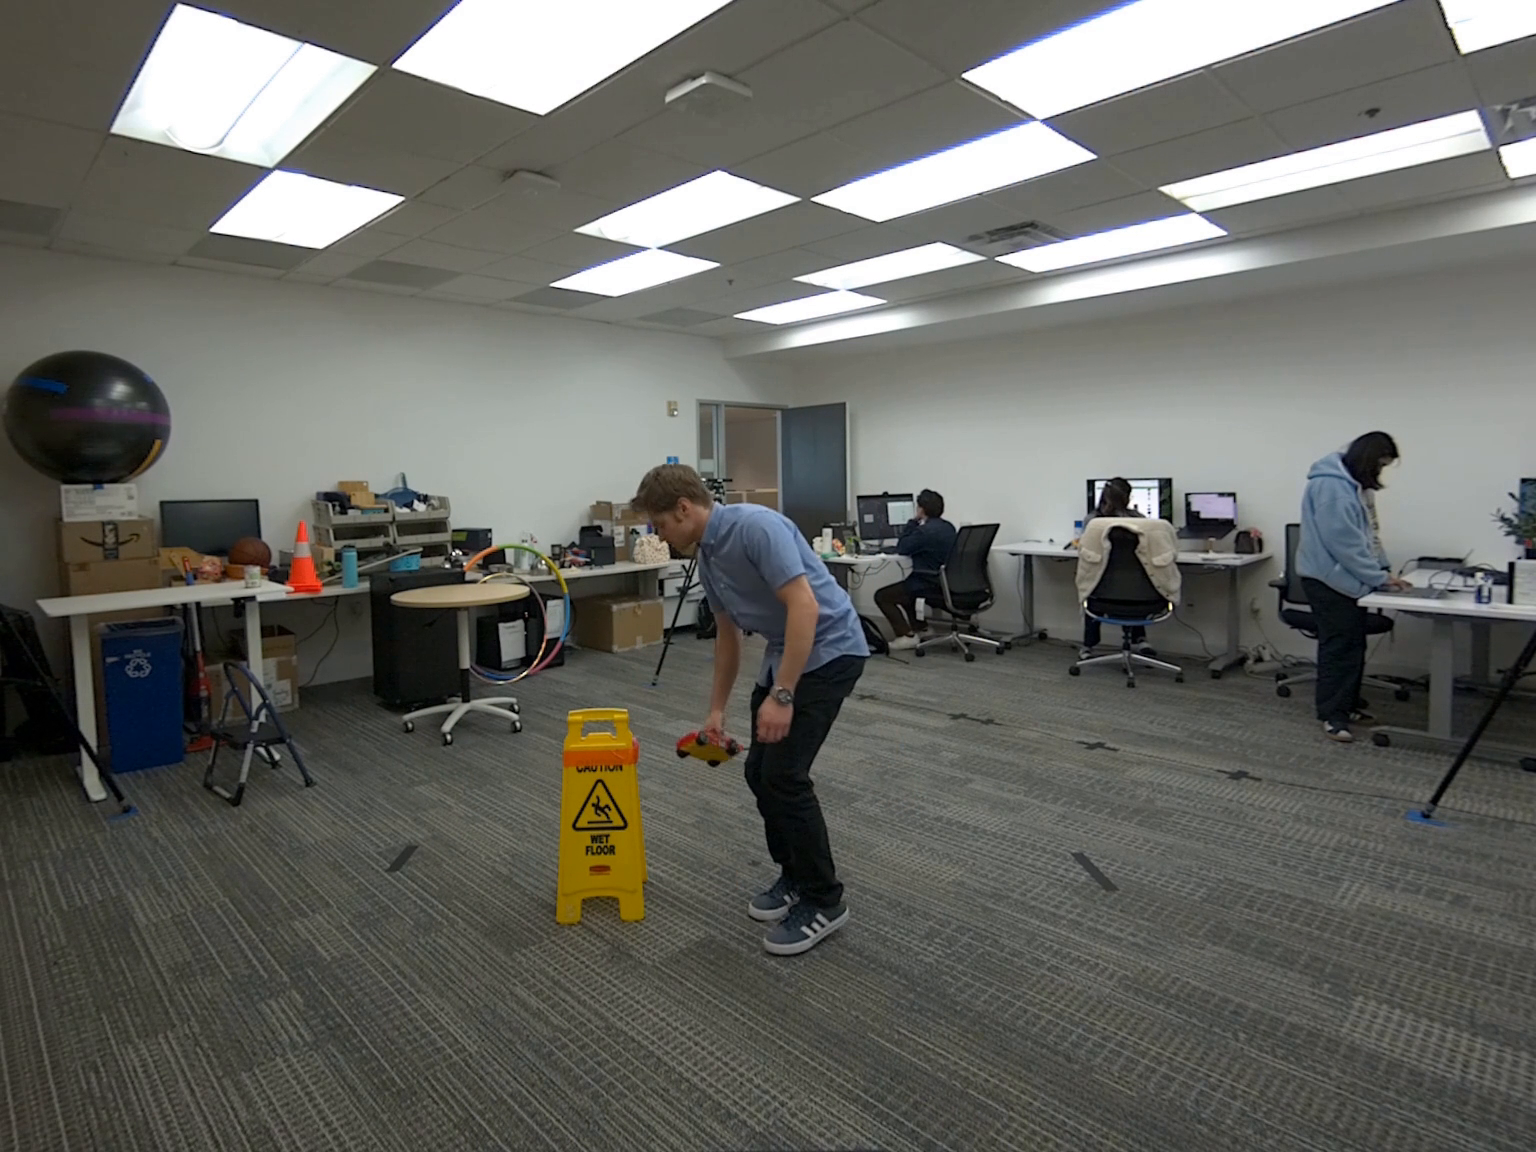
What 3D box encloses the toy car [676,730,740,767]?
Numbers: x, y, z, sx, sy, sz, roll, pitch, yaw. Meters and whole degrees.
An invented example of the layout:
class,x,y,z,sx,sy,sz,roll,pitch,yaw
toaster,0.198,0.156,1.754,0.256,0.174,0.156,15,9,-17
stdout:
class,x,y,z,sx,sy,sz,roll,pitch,yaw
toy car,-0.182,0.574,2.823,0.131,0.086,0.245,-39,-35,24
